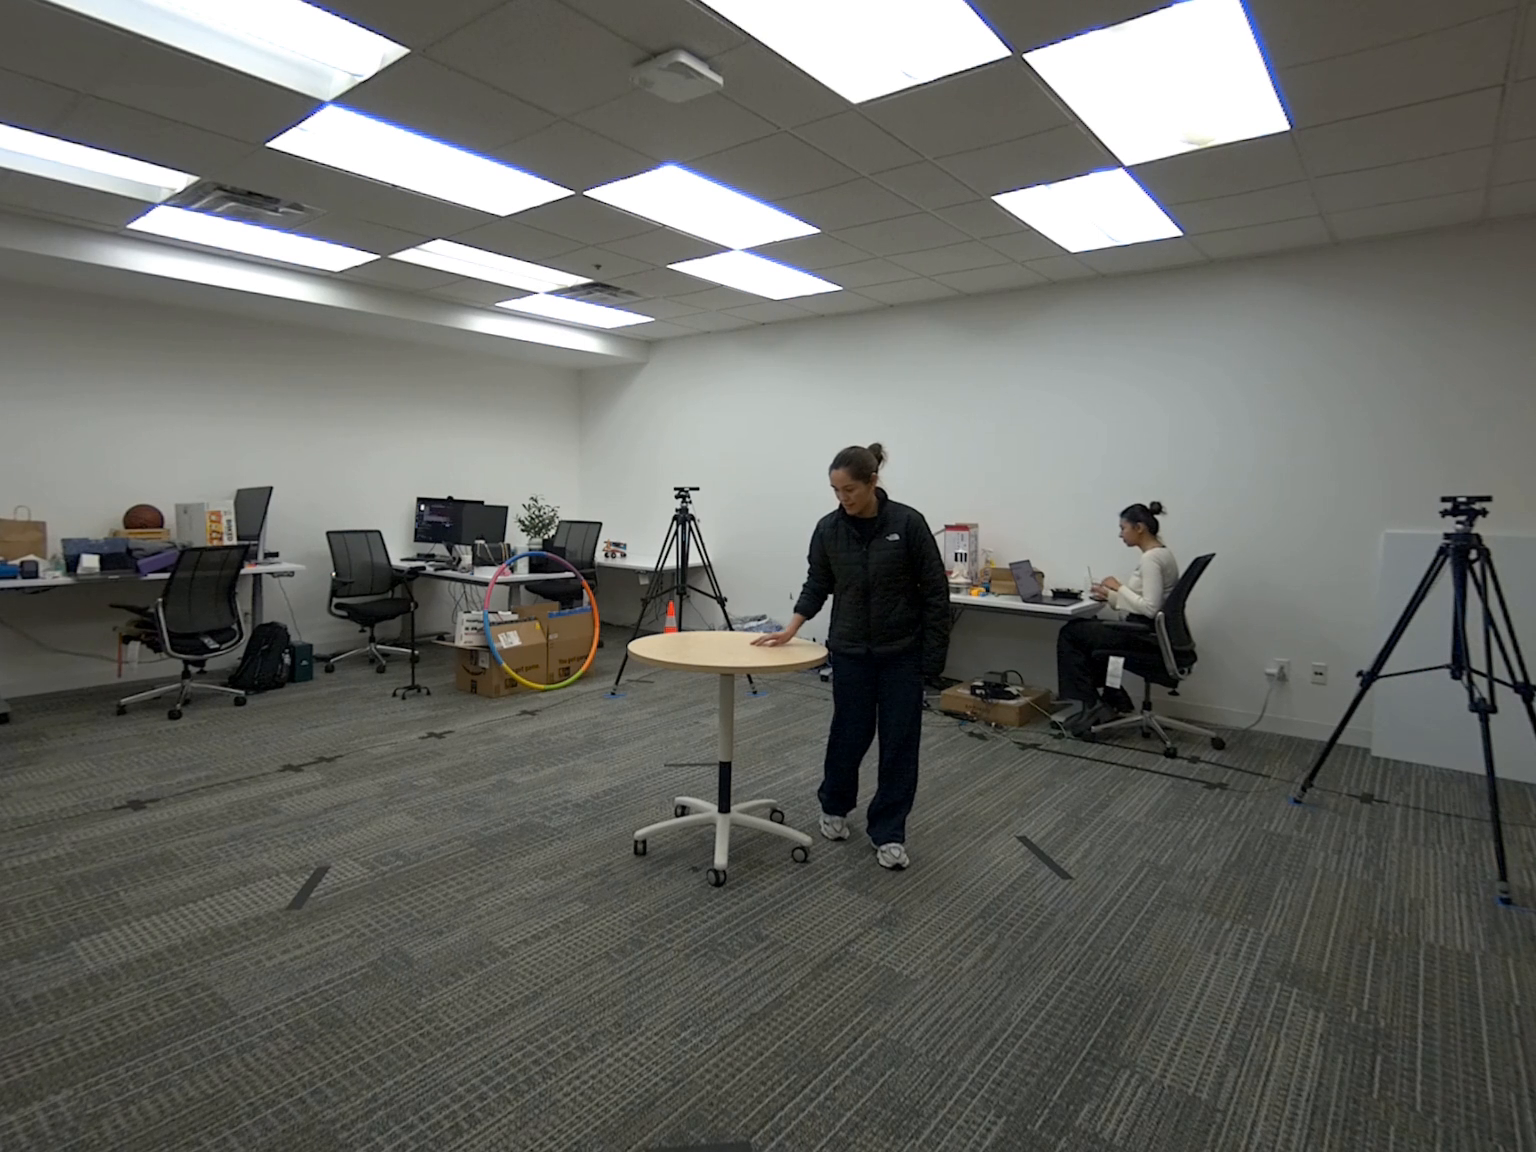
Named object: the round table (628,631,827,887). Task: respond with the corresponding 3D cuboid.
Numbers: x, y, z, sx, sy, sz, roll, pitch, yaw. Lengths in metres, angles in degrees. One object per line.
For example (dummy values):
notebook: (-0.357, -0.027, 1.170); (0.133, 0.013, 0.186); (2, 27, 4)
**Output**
round table: (-0.143, 0.656, 3.289); (0.784, 0.784, 0.789); (1, 4, -2)
